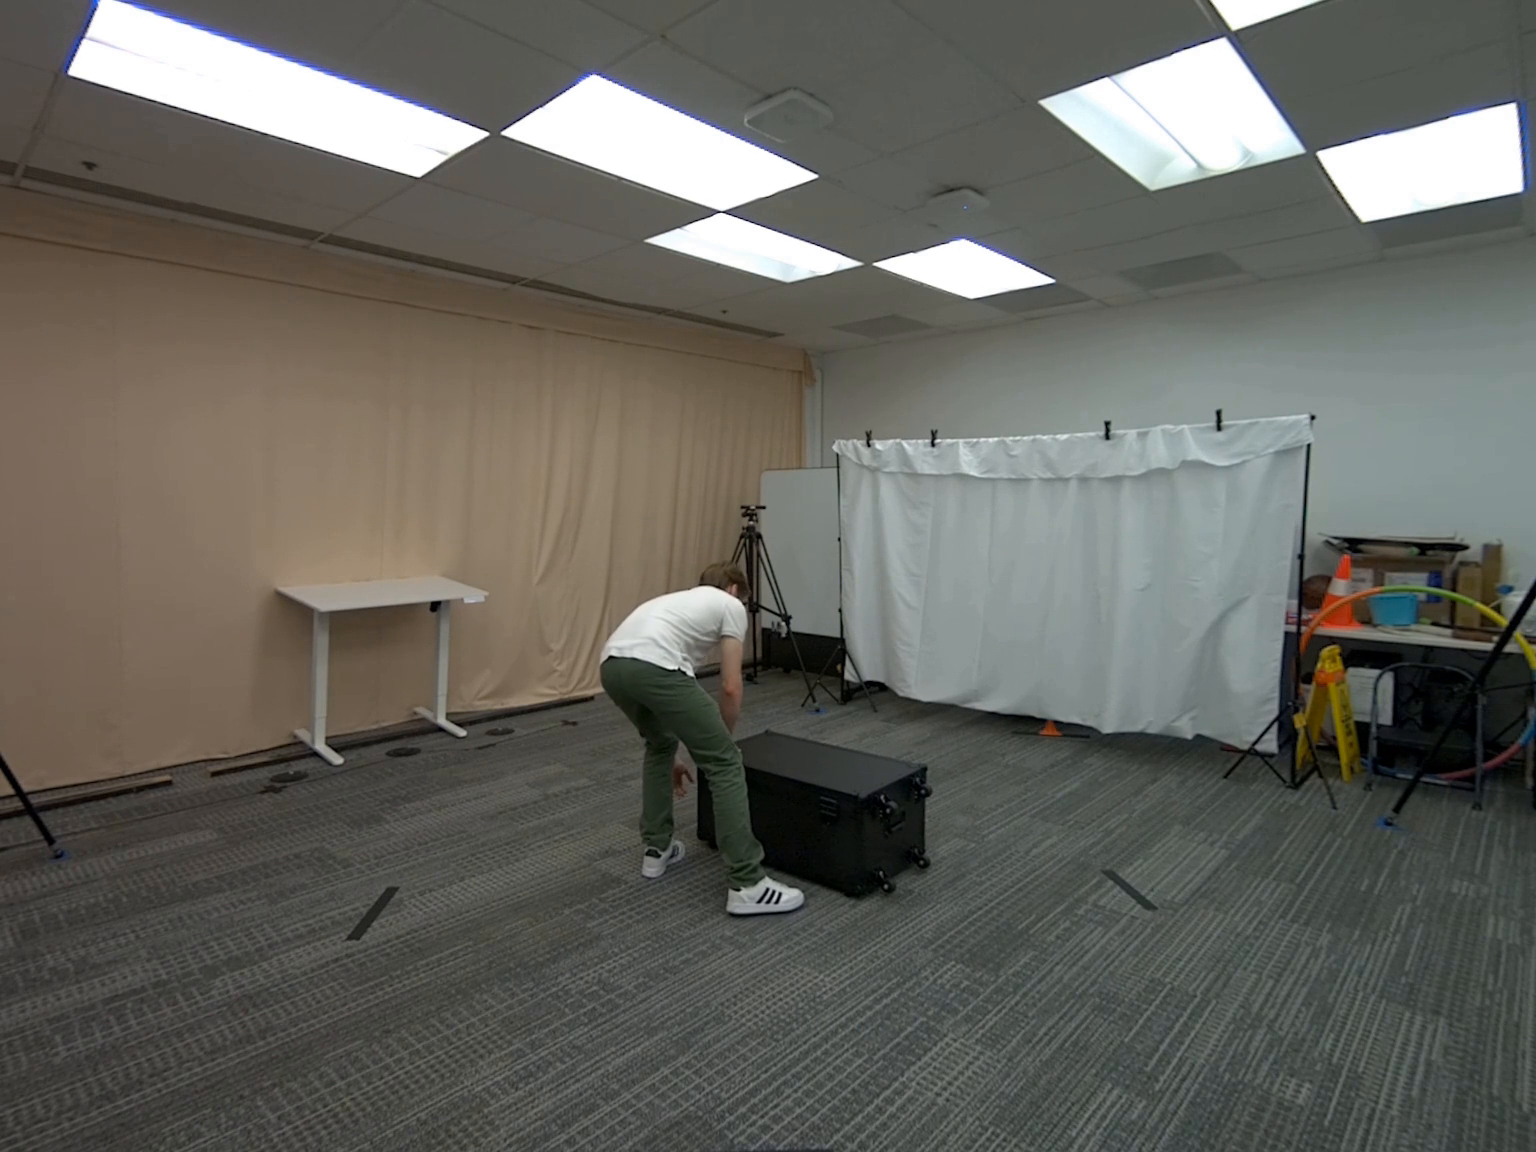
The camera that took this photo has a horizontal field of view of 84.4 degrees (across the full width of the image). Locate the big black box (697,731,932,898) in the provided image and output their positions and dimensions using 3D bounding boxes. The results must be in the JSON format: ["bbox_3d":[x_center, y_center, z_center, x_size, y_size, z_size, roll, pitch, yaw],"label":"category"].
[{"bbox_3d":[0.191,0.915,3.345,0.897,0.384,0.507,4,4,39],"label":"big black box"}]
